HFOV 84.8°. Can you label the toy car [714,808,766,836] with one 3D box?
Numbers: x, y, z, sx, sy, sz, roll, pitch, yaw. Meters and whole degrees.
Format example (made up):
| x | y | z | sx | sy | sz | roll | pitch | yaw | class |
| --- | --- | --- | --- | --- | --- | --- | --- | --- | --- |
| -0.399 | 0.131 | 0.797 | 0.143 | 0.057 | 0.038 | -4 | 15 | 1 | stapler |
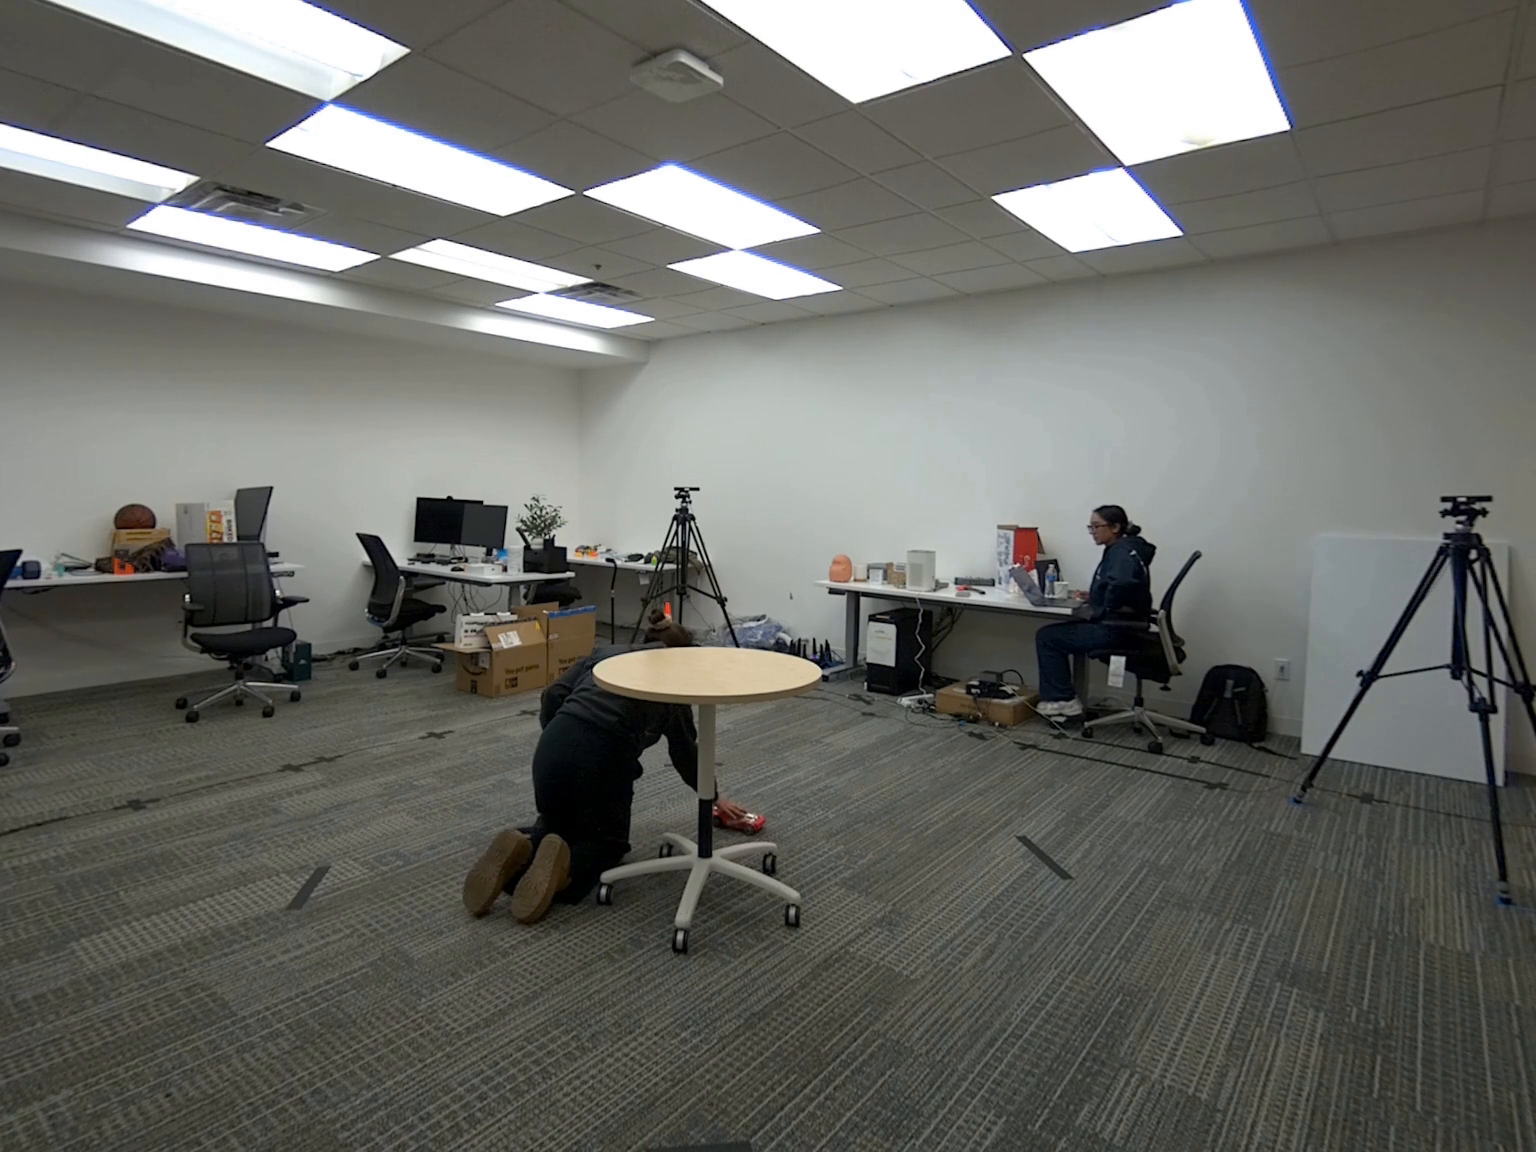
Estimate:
| x | y | z | sx | sy | sz | roll | pitch | yaw | class |
| --- | --- | --- | --- | --- | --- | --- | --- | --- | --- |
| -0.145 | 0.997 | 3.521 | 0.262 | 0.082 | 0.127 | 15 | 11 | 25 | toy car |
